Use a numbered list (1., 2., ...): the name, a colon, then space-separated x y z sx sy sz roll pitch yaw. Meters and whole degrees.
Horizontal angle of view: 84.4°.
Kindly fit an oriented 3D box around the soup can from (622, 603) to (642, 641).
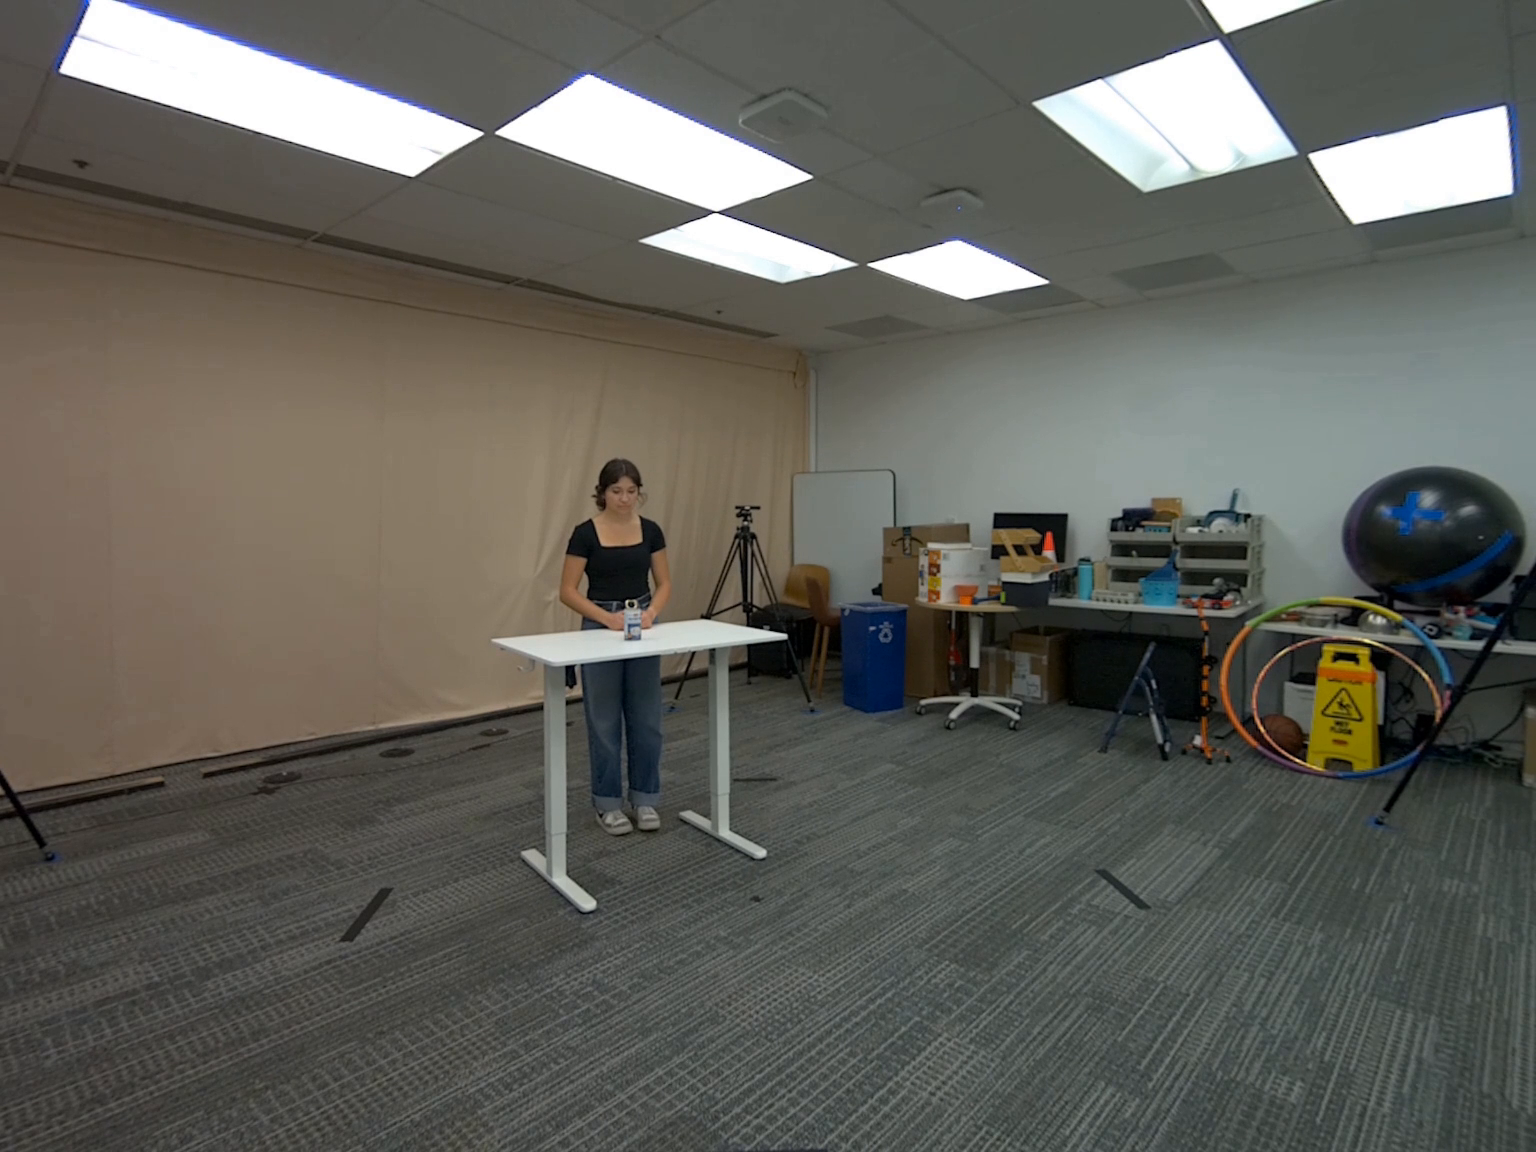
1. soup can: -0.524 0.188 3.232 0.067 0.121 0.067 -2 4 -2
